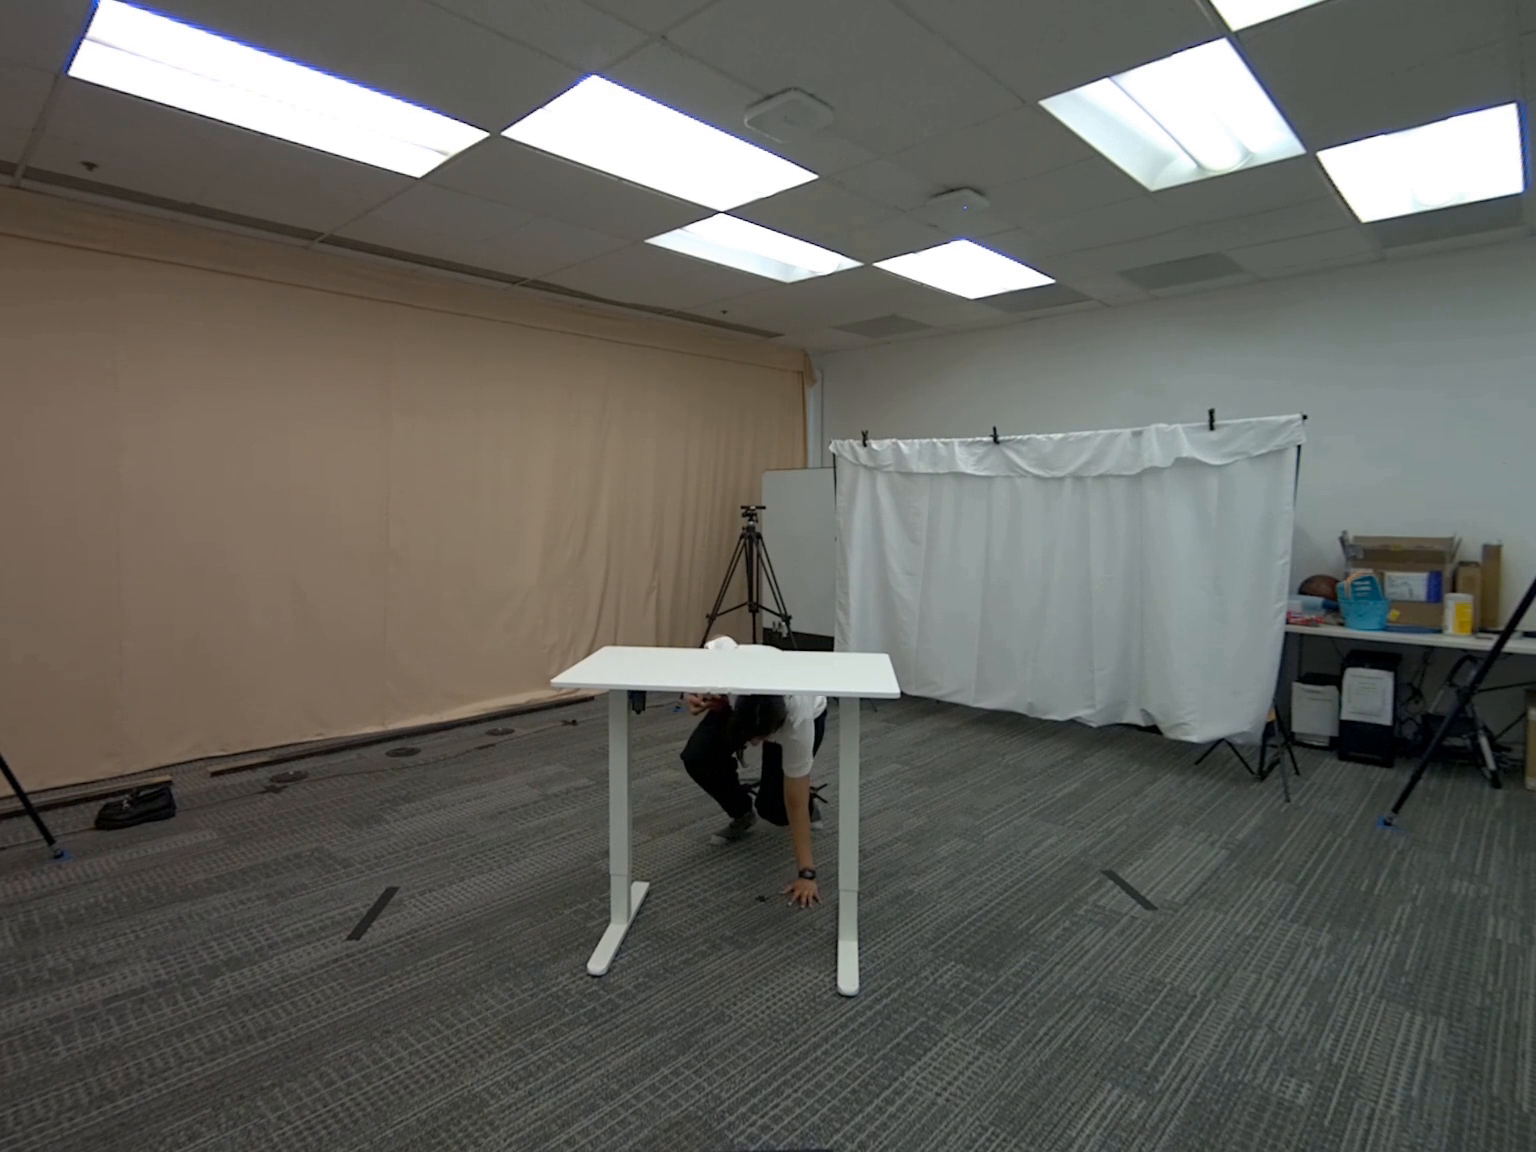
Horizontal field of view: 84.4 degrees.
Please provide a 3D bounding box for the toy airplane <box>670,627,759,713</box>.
[{"bbox_3d":[-0.216,0.394,3.432,0.244,0.261,0.160,37,-36,-27],"label":"toy airplane"}]
